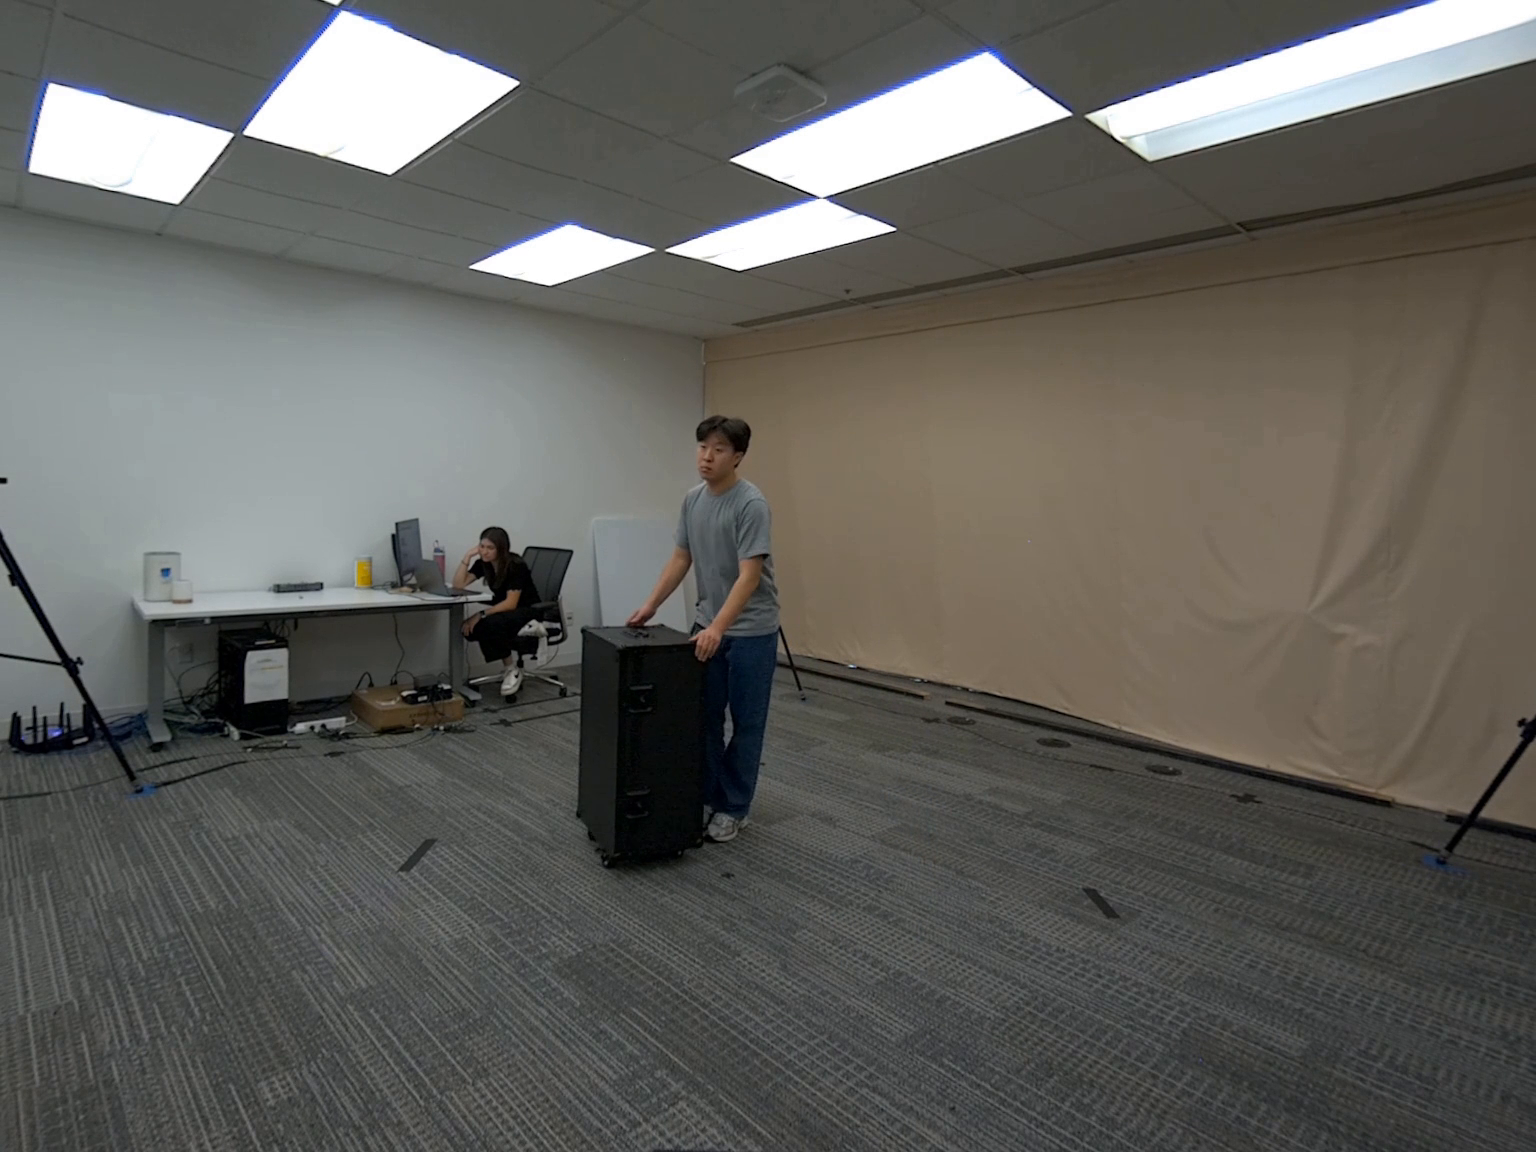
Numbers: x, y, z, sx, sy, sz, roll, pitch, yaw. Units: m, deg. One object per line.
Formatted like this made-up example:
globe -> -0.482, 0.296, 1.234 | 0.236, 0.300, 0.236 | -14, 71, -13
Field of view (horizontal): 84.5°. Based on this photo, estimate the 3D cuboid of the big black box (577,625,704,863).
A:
big black box -> -0.502, 0.654, 3.305 | 0.388, 0.860, 0.532 | 2, 3, -29
